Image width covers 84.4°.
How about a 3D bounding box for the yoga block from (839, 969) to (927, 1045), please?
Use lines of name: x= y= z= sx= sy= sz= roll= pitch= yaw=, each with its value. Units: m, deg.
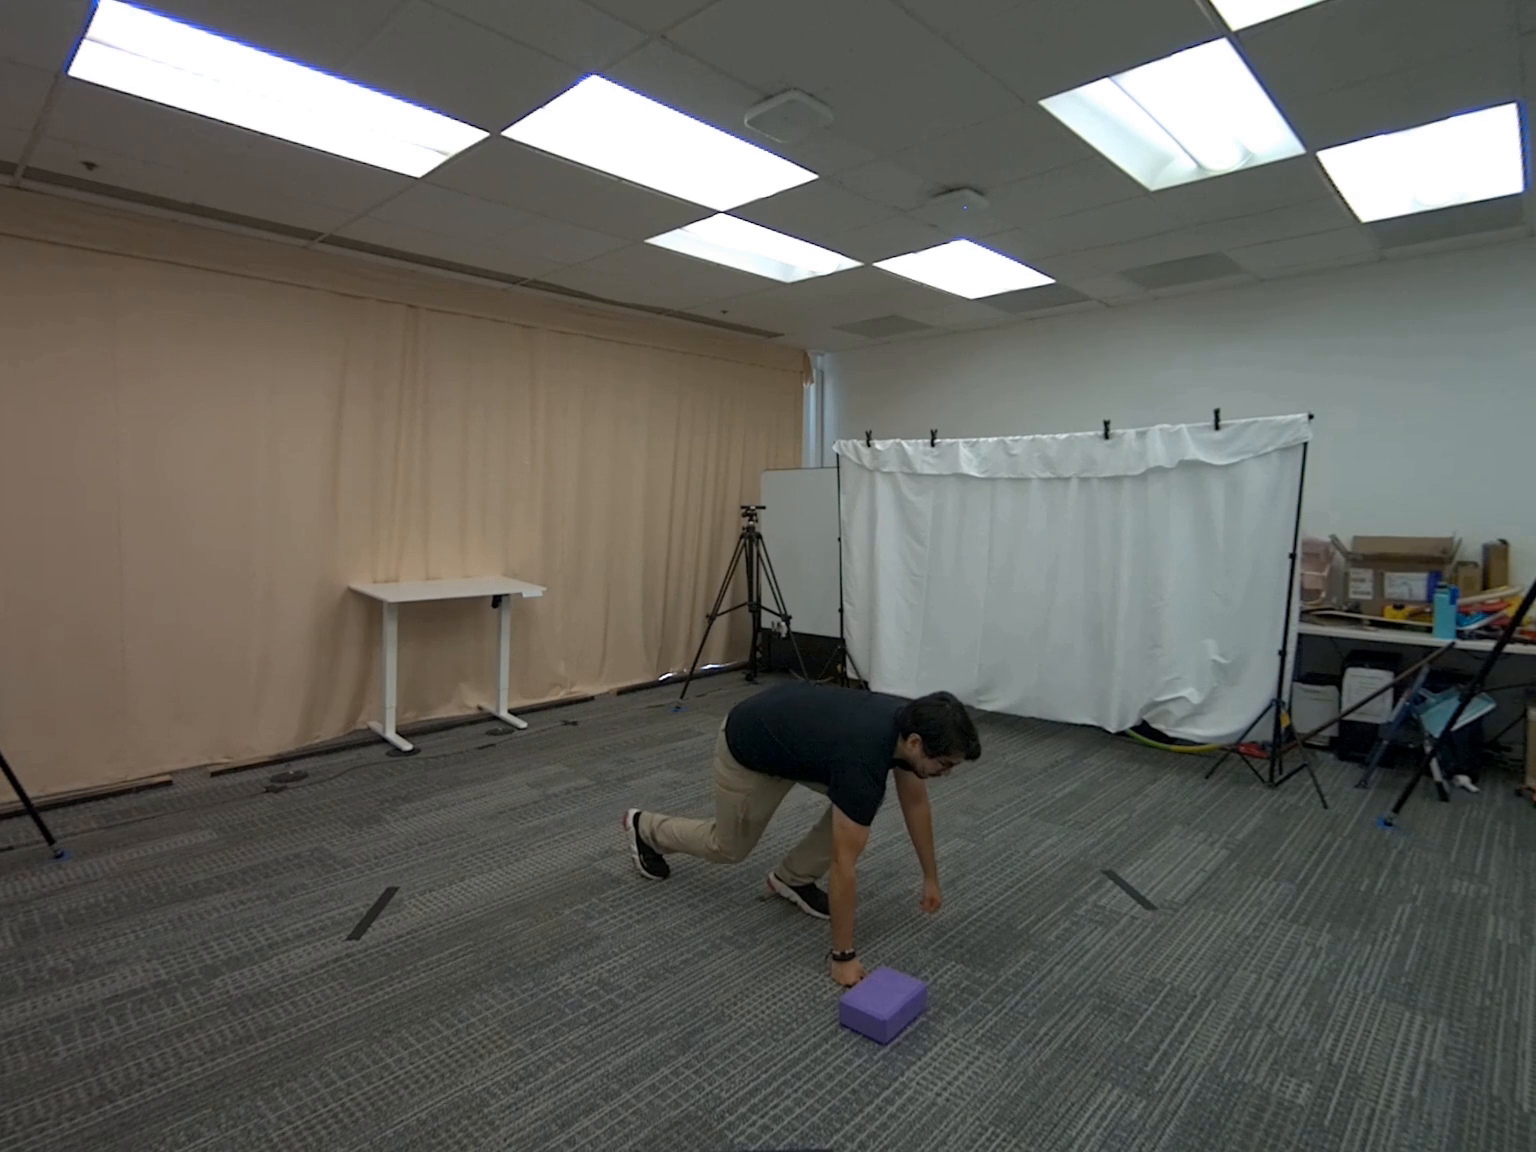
yoga block: x=0.317 y=1.156 z=2.294 sx=0.154 sy=0.076 sz=0.222 roll=5 pitch=7 yaw=39
